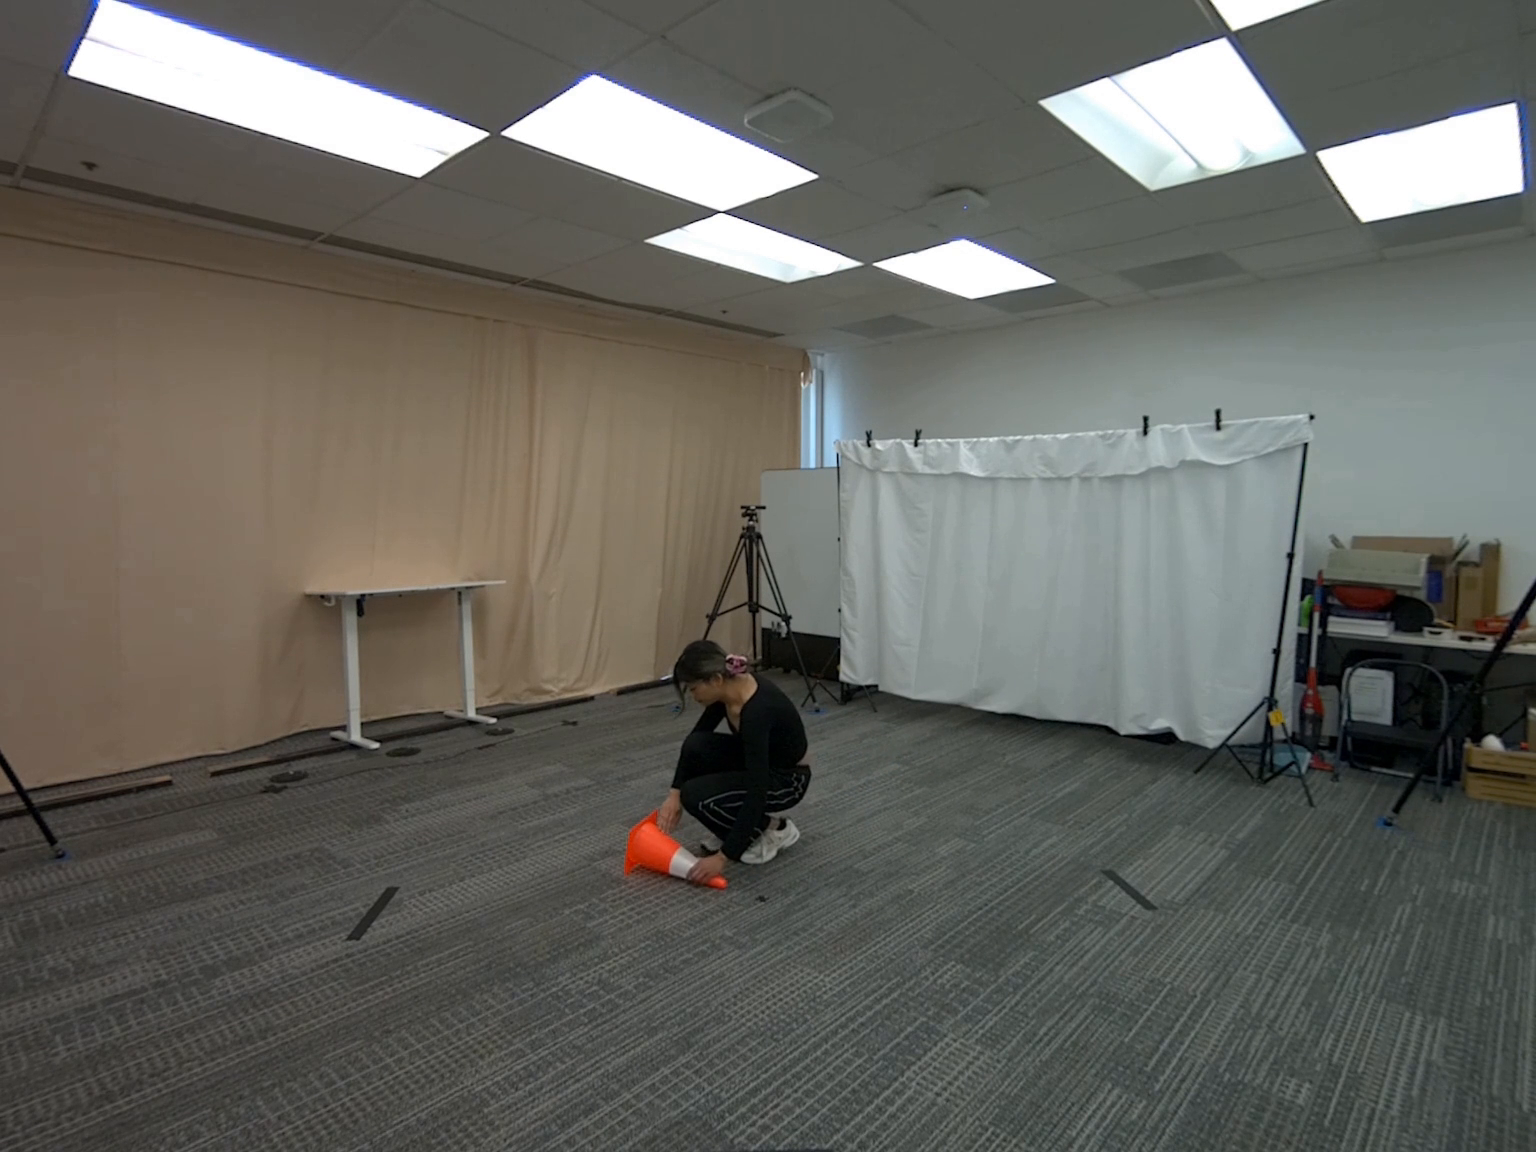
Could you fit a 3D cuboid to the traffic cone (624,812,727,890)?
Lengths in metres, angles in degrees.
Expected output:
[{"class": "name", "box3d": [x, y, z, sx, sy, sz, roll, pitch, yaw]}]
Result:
[{"class": "traffic cone", "box3d": [-0.321, 1.075, 3.154, 0.394, 0.203, 0.199, 15, 22, 25]}]
